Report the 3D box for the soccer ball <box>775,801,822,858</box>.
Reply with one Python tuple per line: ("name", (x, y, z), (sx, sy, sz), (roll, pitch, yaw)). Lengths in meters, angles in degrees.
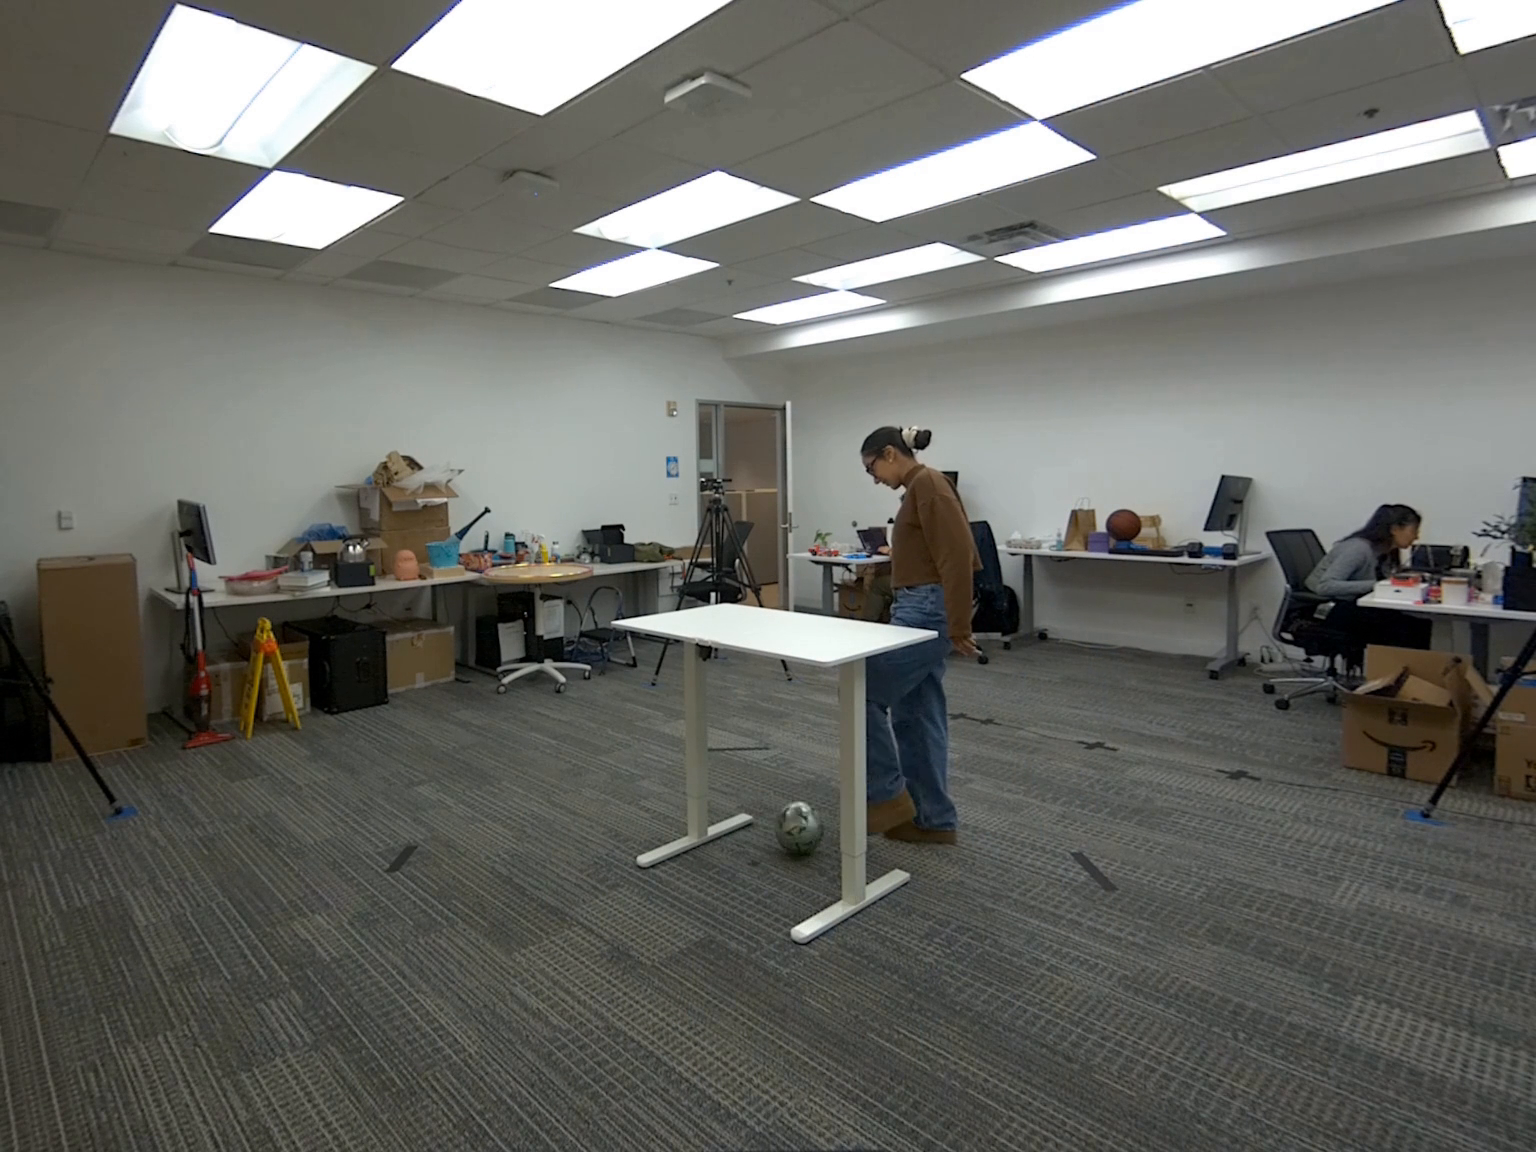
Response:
("soccer ball", (0.124, 0.938, 3.185), (0.187, 0.187, 0.188), (-1, 5, -2))
